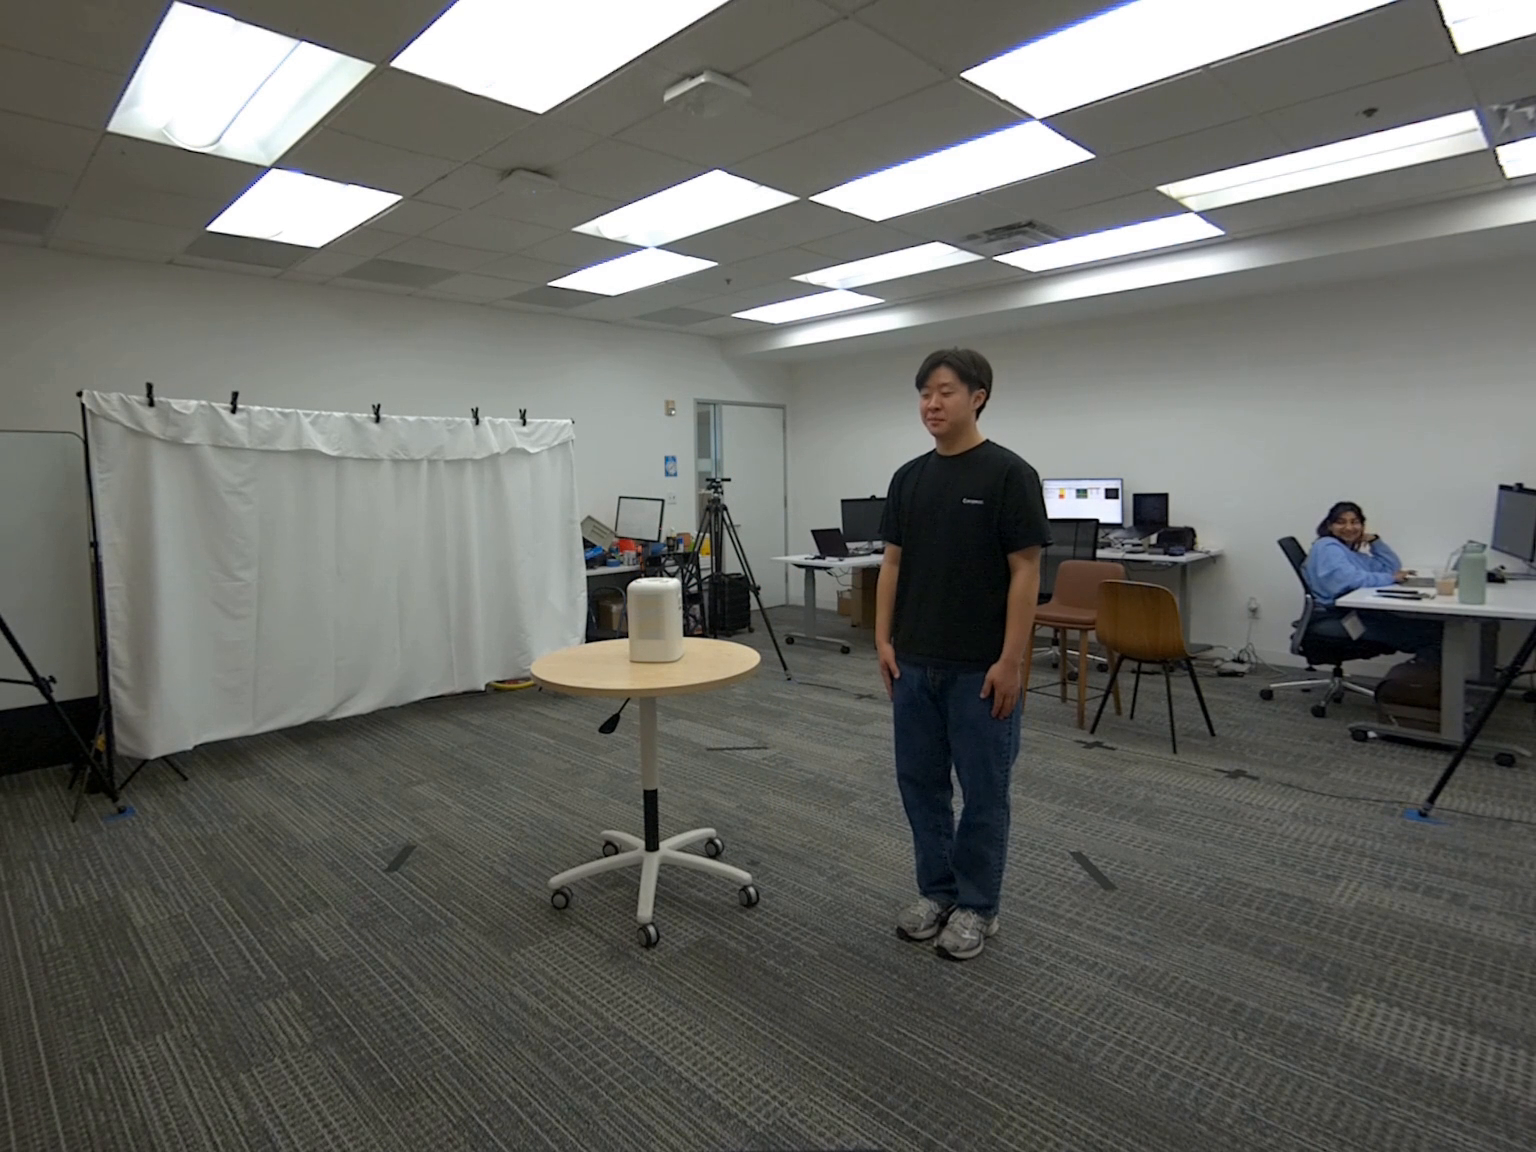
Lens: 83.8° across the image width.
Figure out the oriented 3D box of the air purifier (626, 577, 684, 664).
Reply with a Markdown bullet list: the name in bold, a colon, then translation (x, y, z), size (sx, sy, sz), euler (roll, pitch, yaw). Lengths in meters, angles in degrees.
- **air purifier**: translation (-0.376, 0.146, 2.883), size (0.173, 0.264, 0.170), euler (1, 6, 8)
